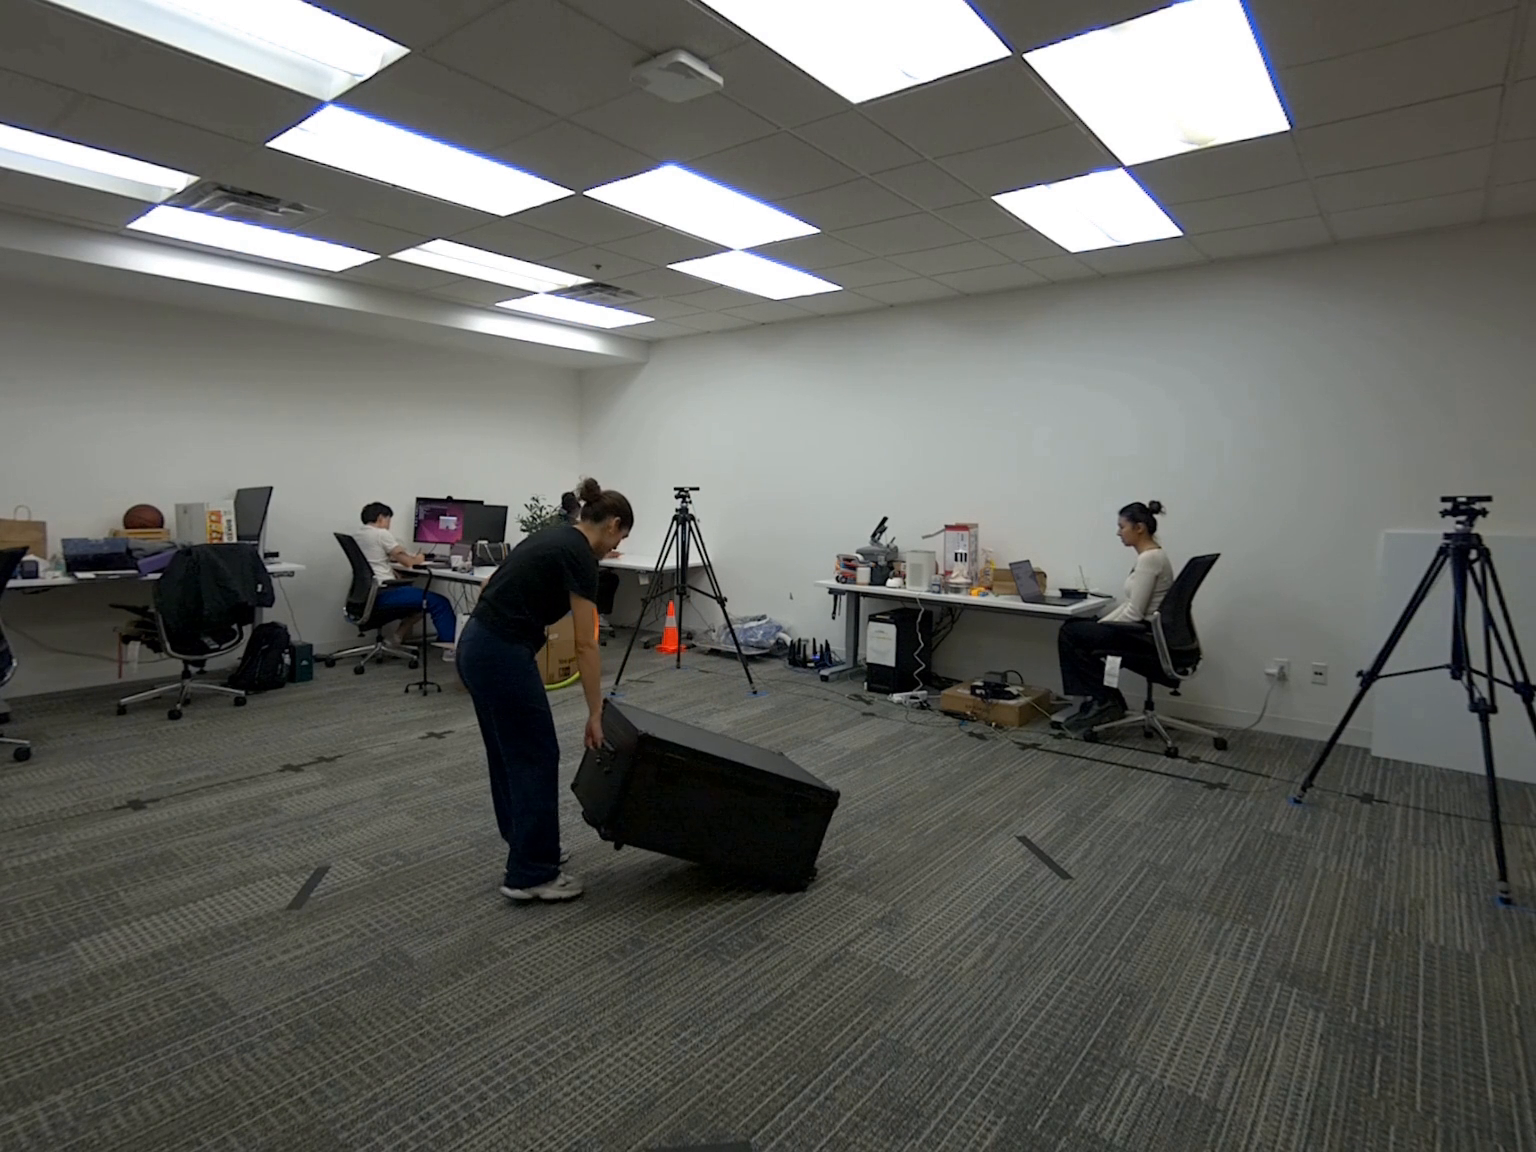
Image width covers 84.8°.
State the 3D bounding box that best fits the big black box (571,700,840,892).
[{"bbox_3d":[-0.194,0.786,3.059,0.838,0.397,0.534,21,-5,-22],"label":"big black box"}]
